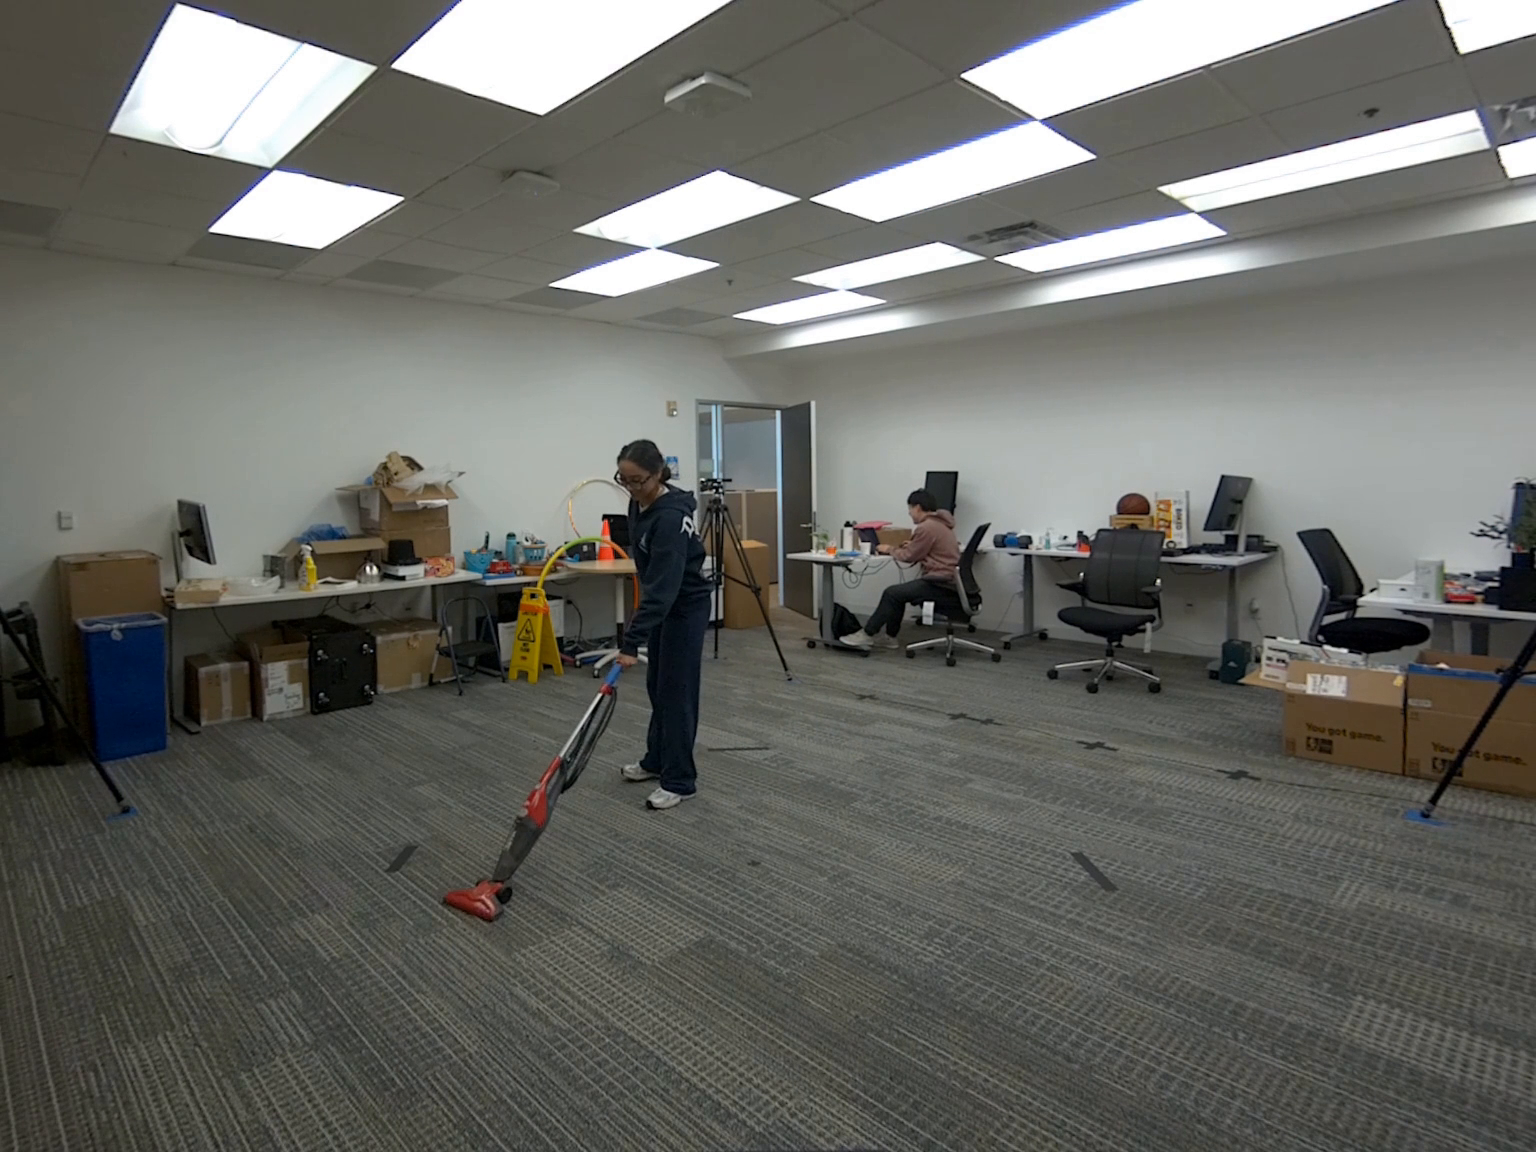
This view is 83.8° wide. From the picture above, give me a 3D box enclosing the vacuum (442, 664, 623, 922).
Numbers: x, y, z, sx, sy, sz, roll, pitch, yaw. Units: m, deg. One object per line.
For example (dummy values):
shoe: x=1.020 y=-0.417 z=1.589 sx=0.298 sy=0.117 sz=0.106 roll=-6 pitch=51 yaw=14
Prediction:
vacuum: x=-0.746 y=0.709 z=3.154 sx=0.259 sy=0.139 sz=1.058 roll=1 pitch=46 yaw=32
